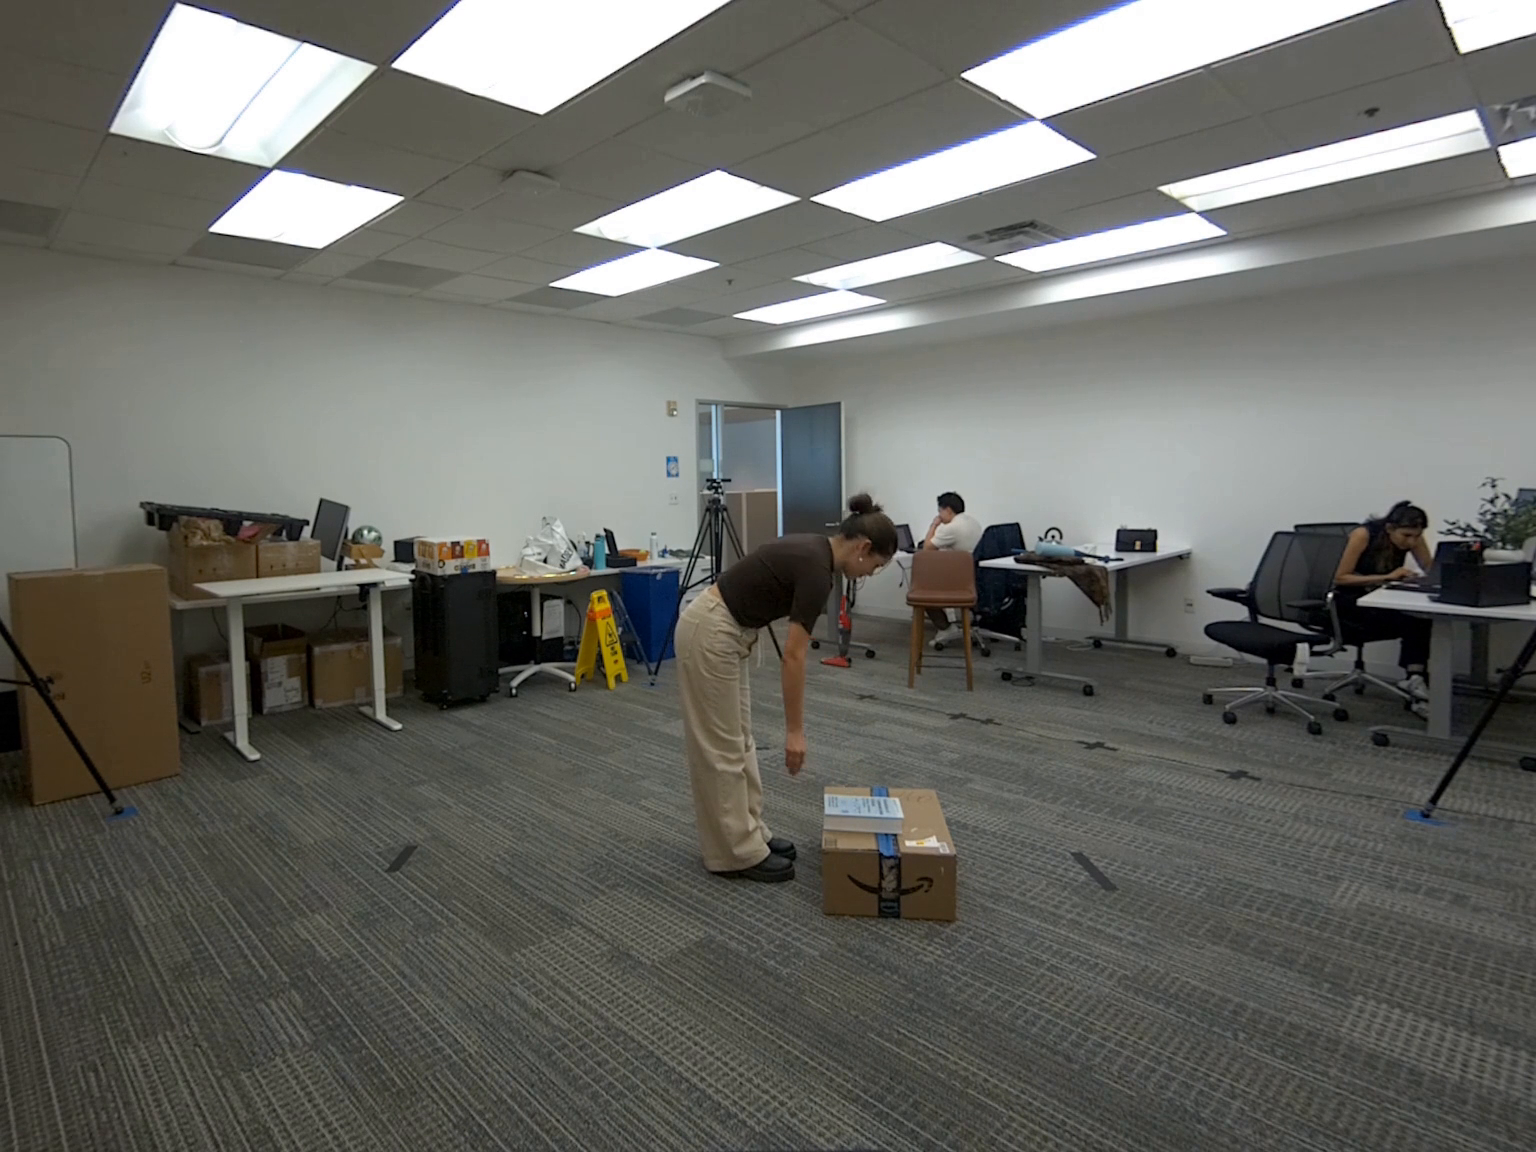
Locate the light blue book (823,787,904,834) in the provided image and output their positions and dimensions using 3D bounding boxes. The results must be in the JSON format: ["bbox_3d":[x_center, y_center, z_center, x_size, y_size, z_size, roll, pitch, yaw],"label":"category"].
[{"bbox_3d":[0.325,0.812,2.941,0.263,0.059,0.191,1,6,6],"label":"light blue book"}]
